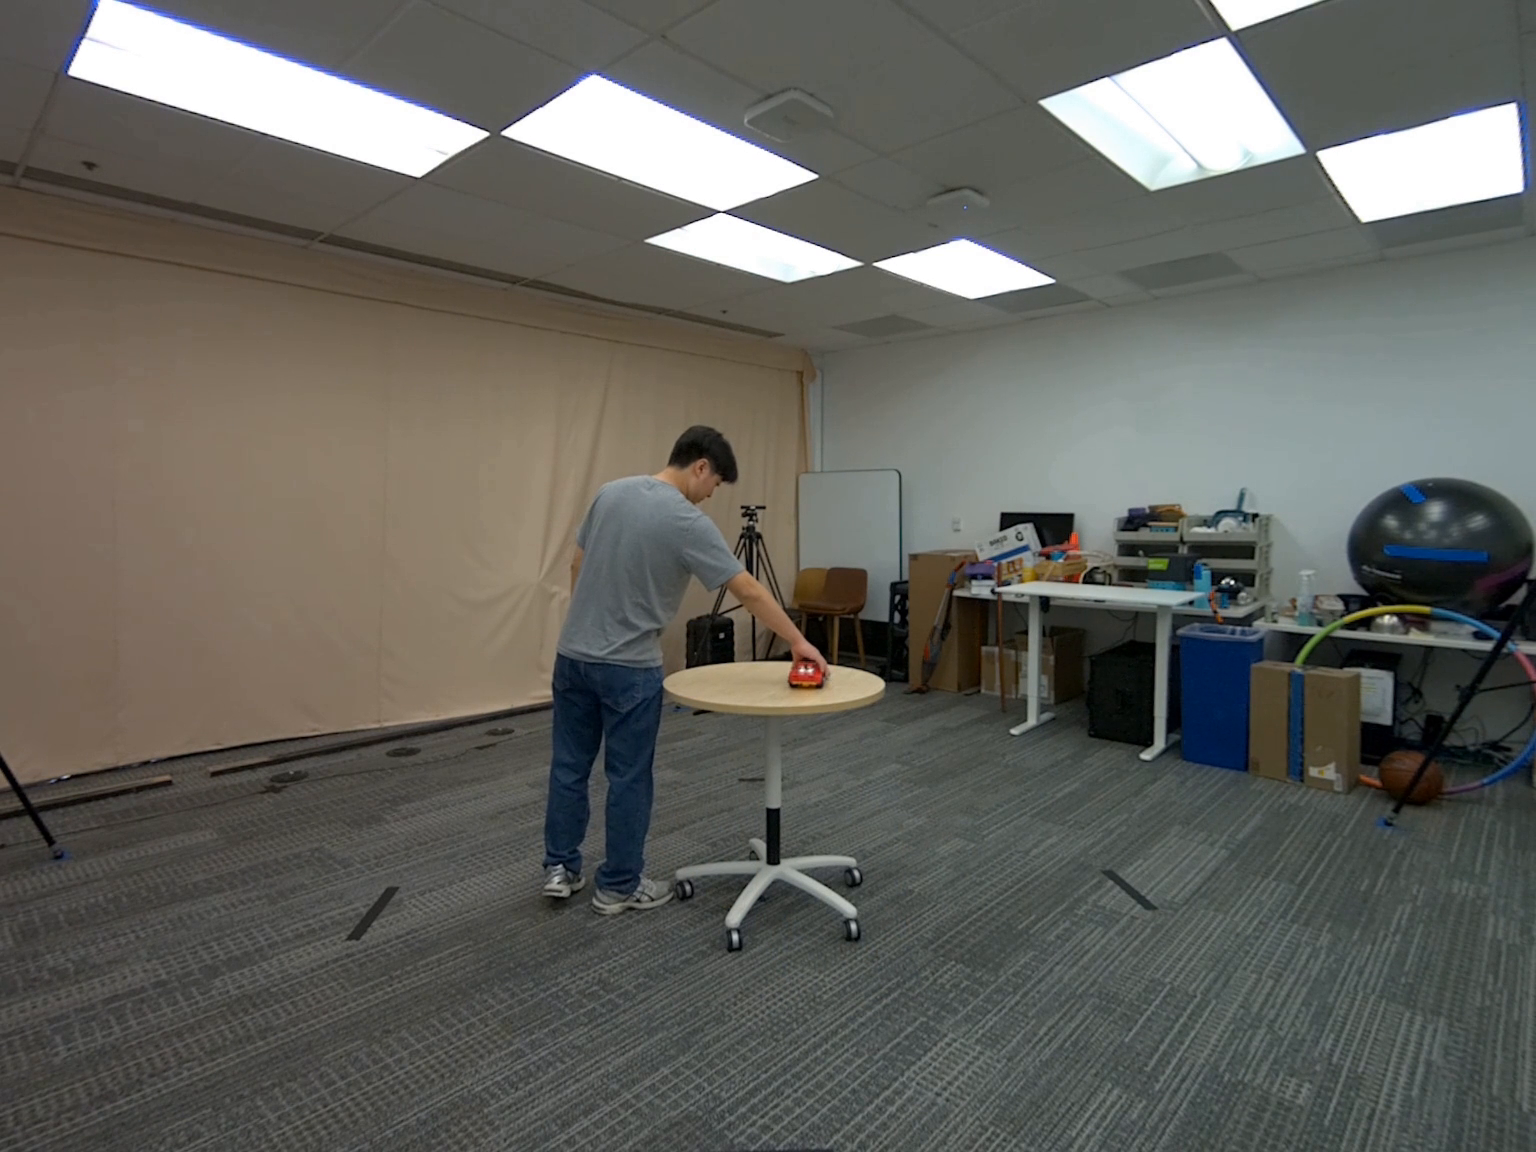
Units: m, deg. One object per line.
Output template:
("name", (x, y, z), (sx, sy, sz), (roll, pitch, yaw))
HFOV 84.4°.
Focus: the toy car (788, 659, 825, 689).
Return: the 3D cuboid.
("toy car", (0.138, 0.339, 2.850), (0.132, 0.083, 0.250), (2, -6, 10))
